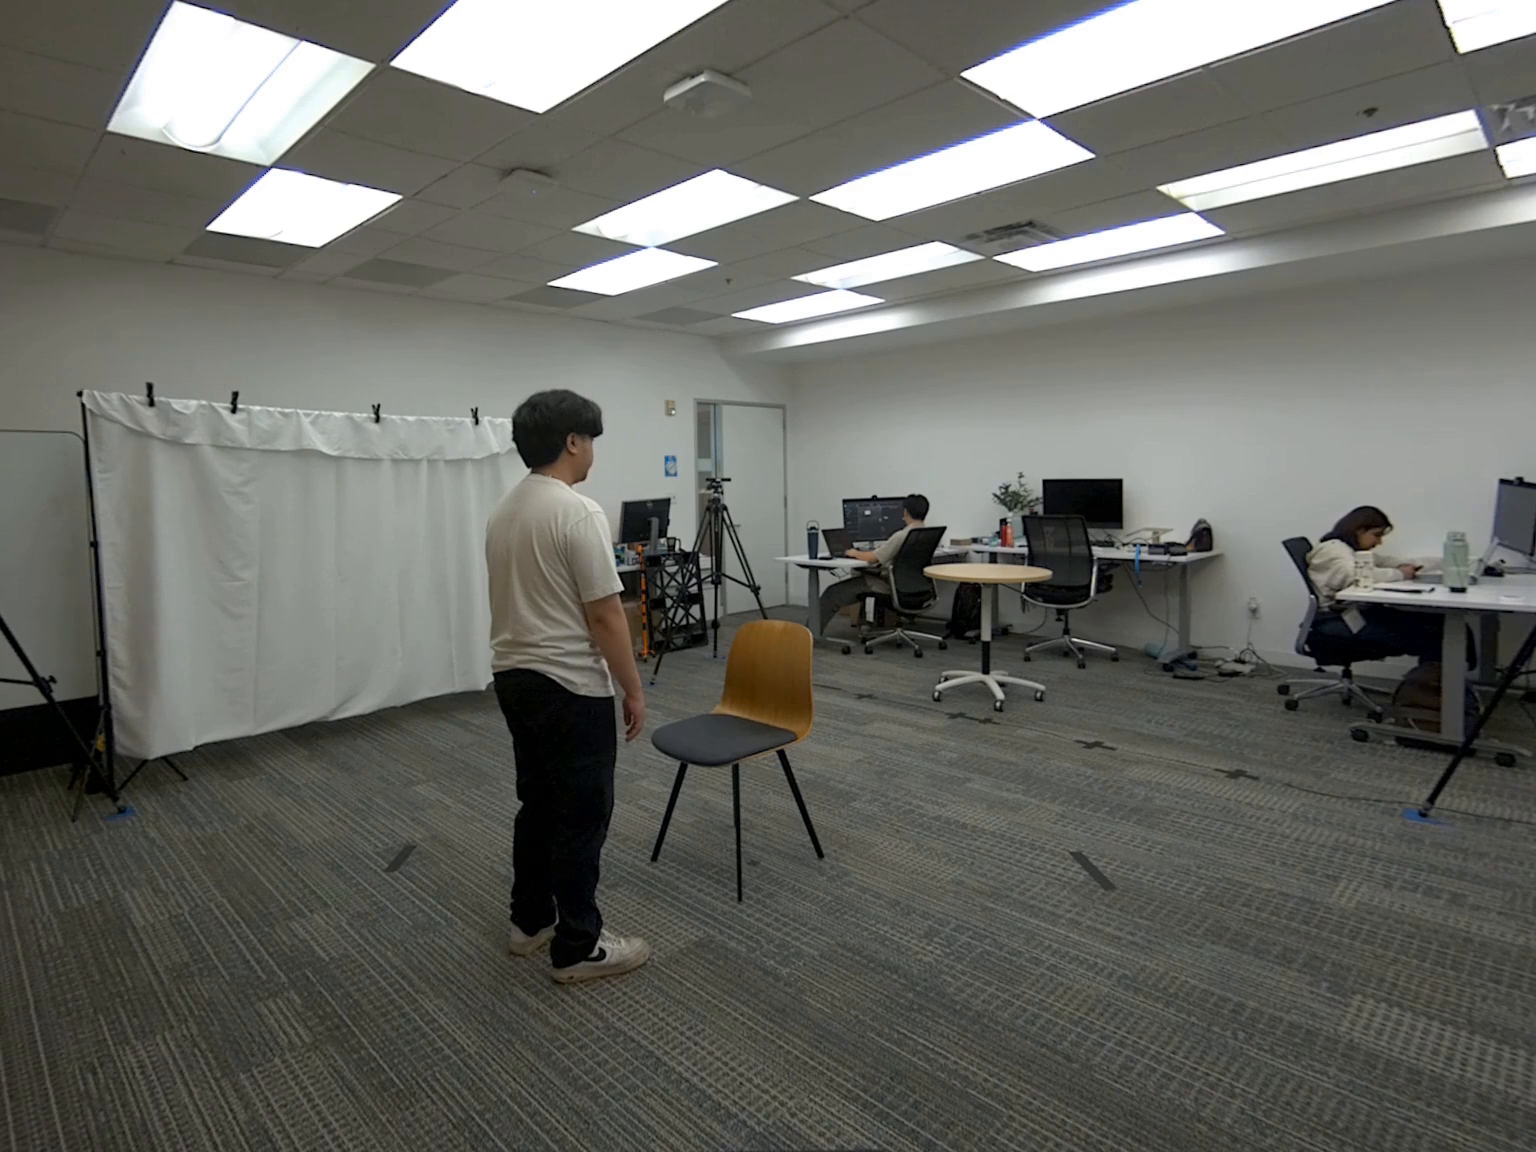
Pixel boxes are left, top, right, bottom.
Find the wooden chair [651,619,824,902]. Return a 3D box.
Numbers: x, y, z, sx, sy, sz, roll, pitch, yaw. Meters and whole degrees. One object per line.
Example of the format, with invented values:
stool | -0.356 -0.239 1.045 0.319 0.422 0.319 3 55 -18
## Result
wooden chair | -0.122 0.615 3.093 0.493 0.877 0.508 3 2 43
